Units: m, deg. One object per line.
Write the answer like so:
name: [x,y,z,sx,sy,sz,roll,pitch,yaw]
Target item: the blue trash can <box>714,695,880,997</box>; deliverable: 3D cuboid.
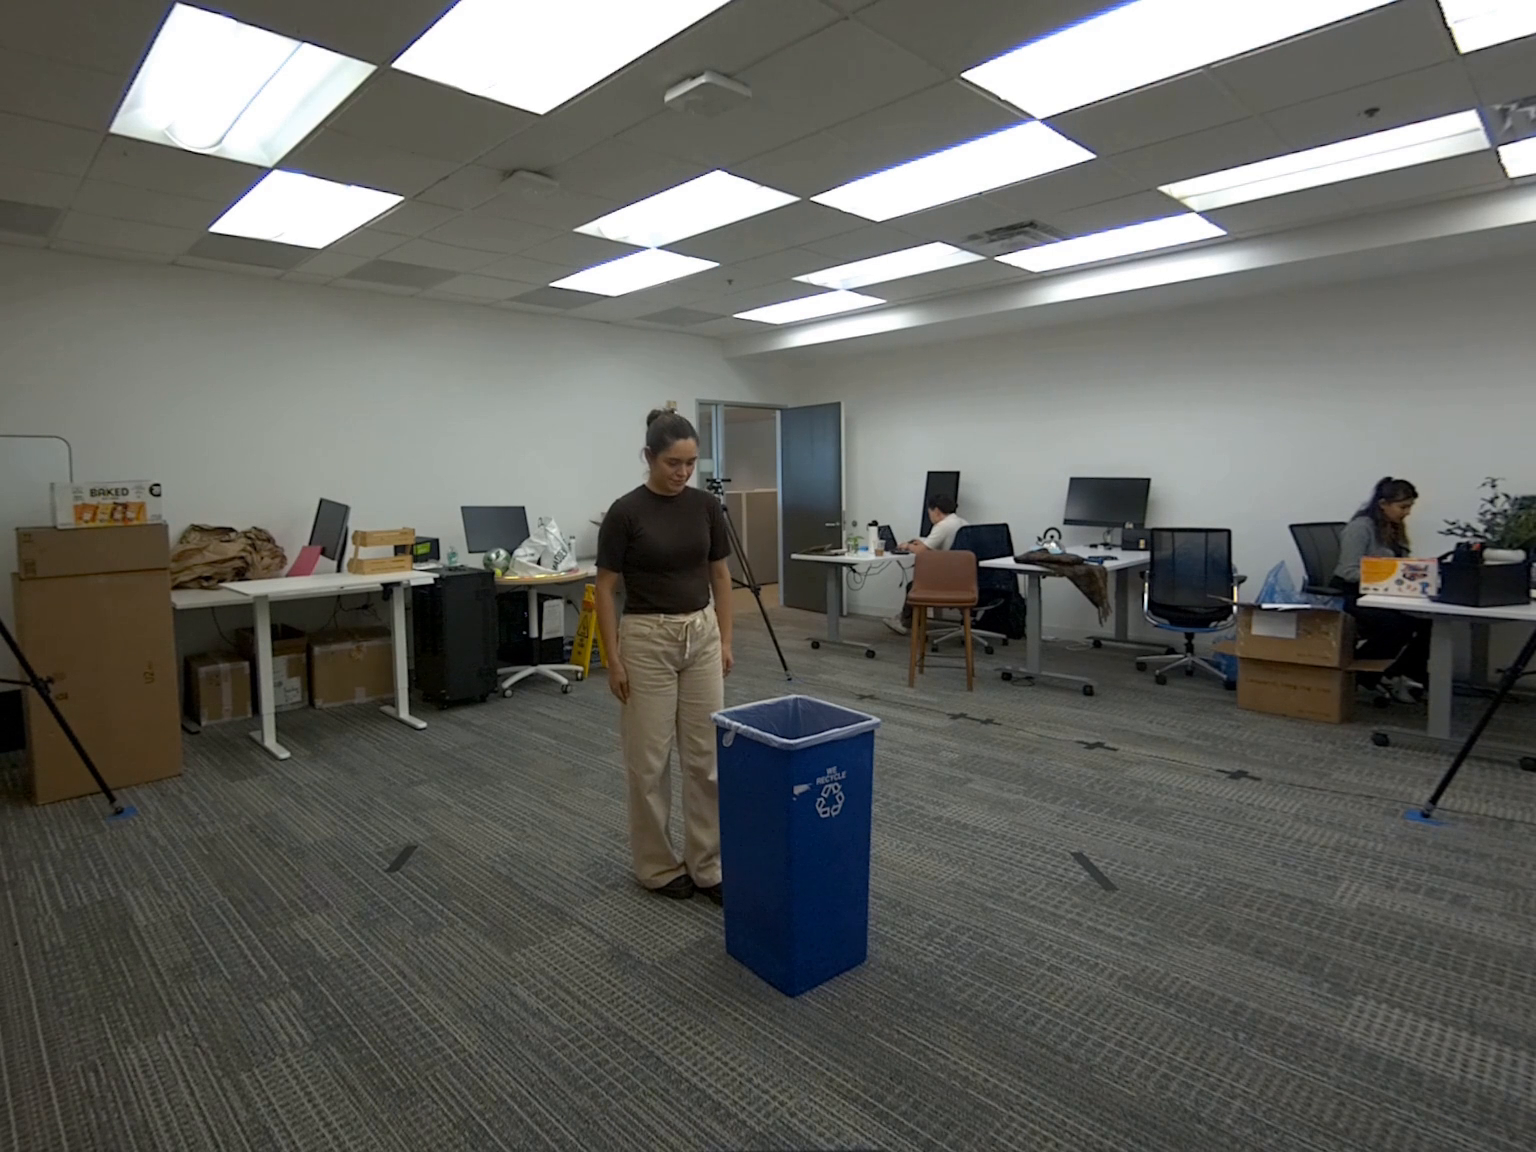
blue trash can: [0.090,0.758,2.474,0.368,0.711,0.385,-4,5,-39]
